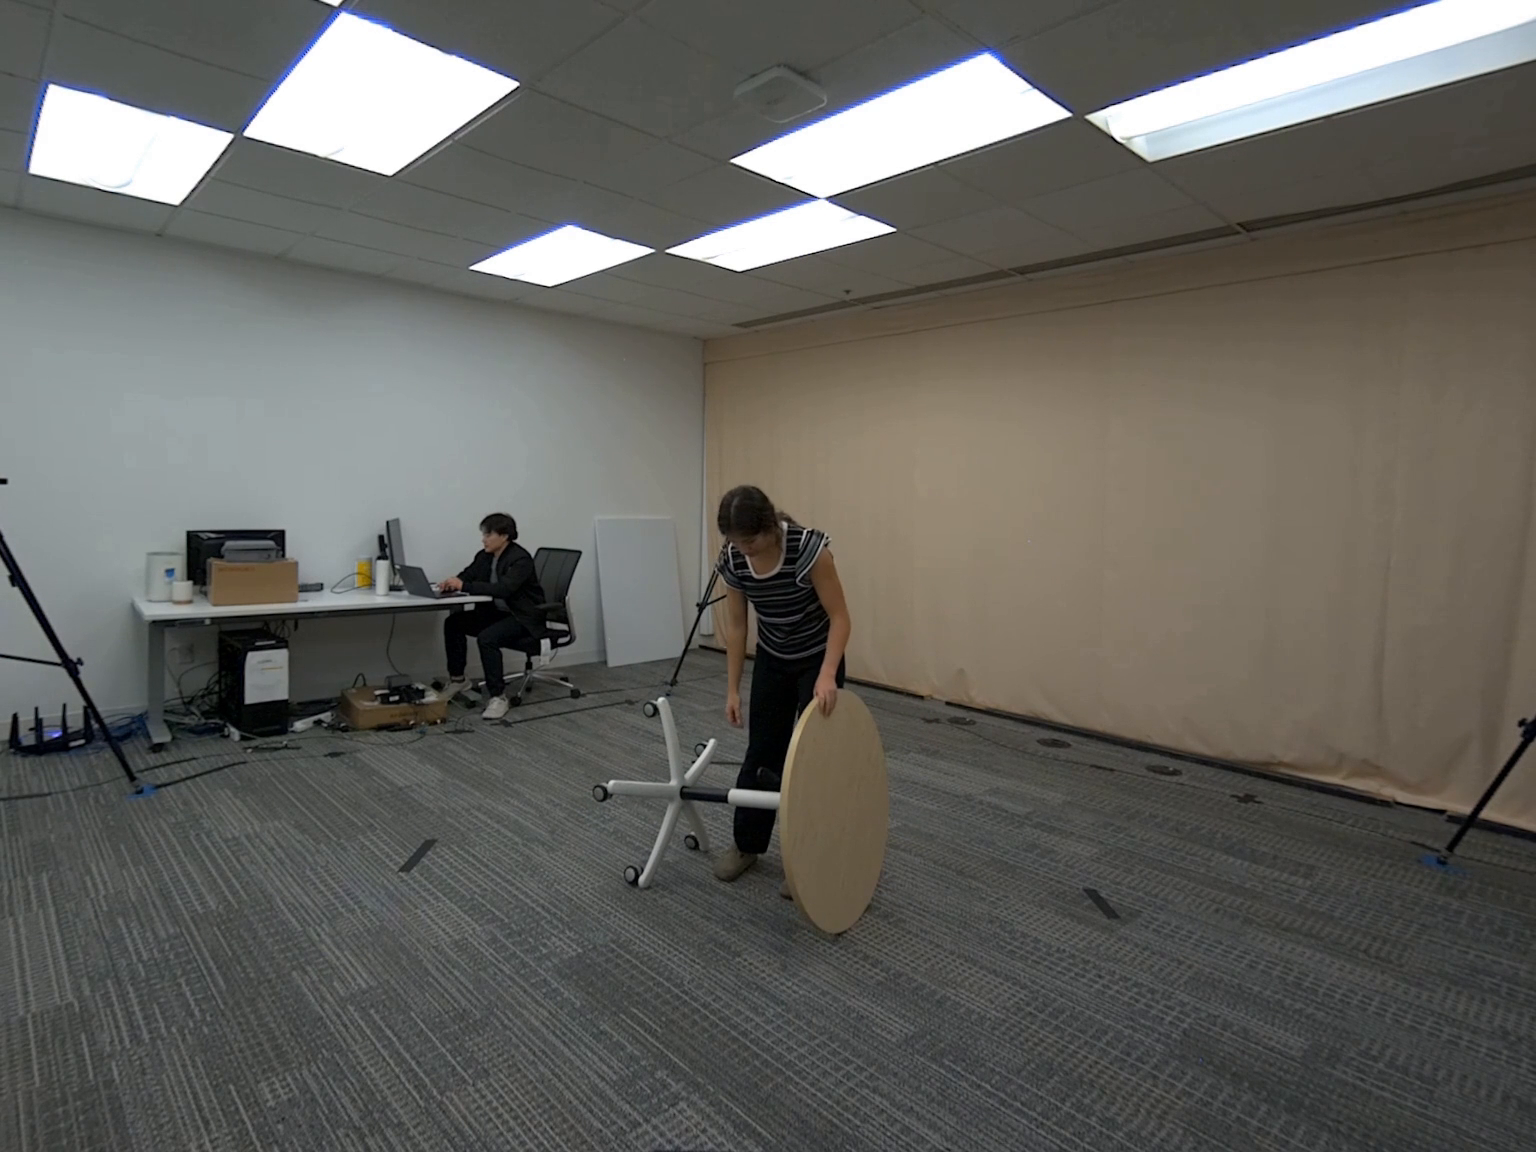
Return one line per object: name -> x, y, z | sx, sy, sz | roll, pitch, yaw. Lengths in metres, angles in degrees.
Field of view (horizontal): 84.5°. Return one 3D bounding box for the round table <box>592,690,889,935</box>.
round table -> -0.099, 0.792, 2.989 | 0.809, 0.764, 0.749 | -5, 0, 32
